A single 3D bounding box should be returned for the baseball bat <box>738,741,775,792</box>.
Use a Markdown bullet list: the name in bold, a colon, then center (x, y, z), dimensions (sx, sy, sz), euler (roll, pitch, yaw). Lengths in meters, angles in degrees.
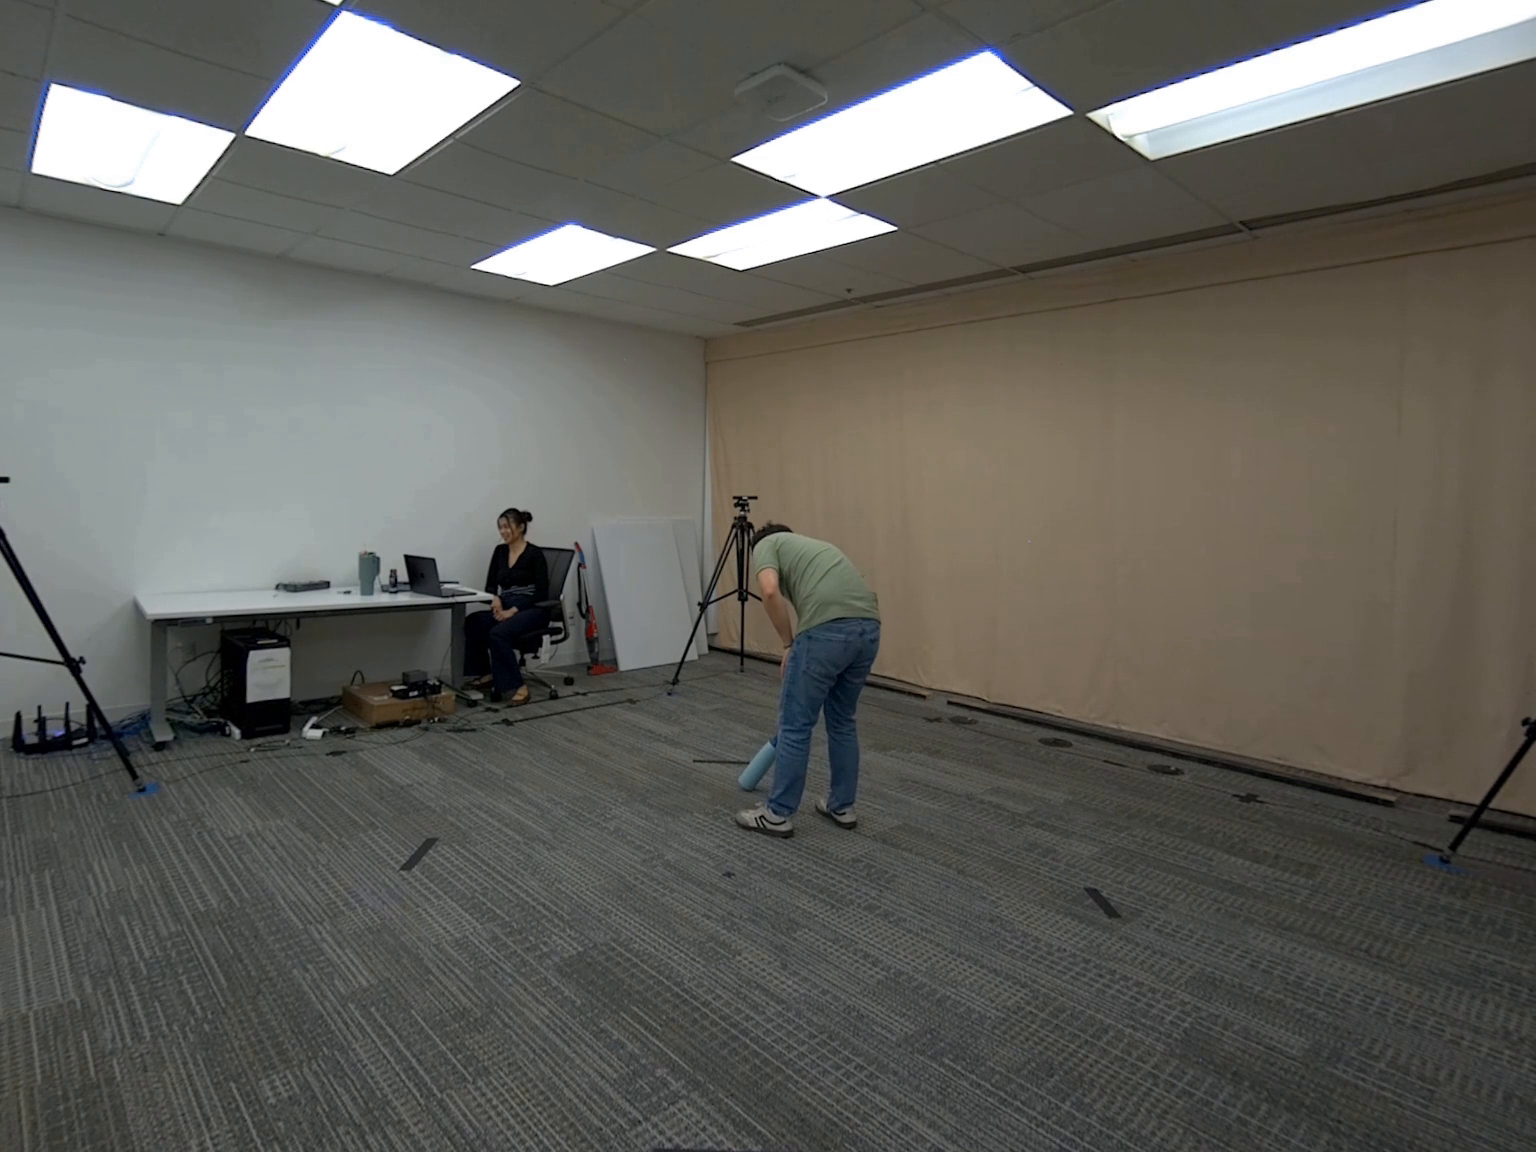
- **baseball bat**: center (0.043, 0.791, 3.994), dimensions (0.088, 0.542, 0.090), euler (35, 8, -7)
